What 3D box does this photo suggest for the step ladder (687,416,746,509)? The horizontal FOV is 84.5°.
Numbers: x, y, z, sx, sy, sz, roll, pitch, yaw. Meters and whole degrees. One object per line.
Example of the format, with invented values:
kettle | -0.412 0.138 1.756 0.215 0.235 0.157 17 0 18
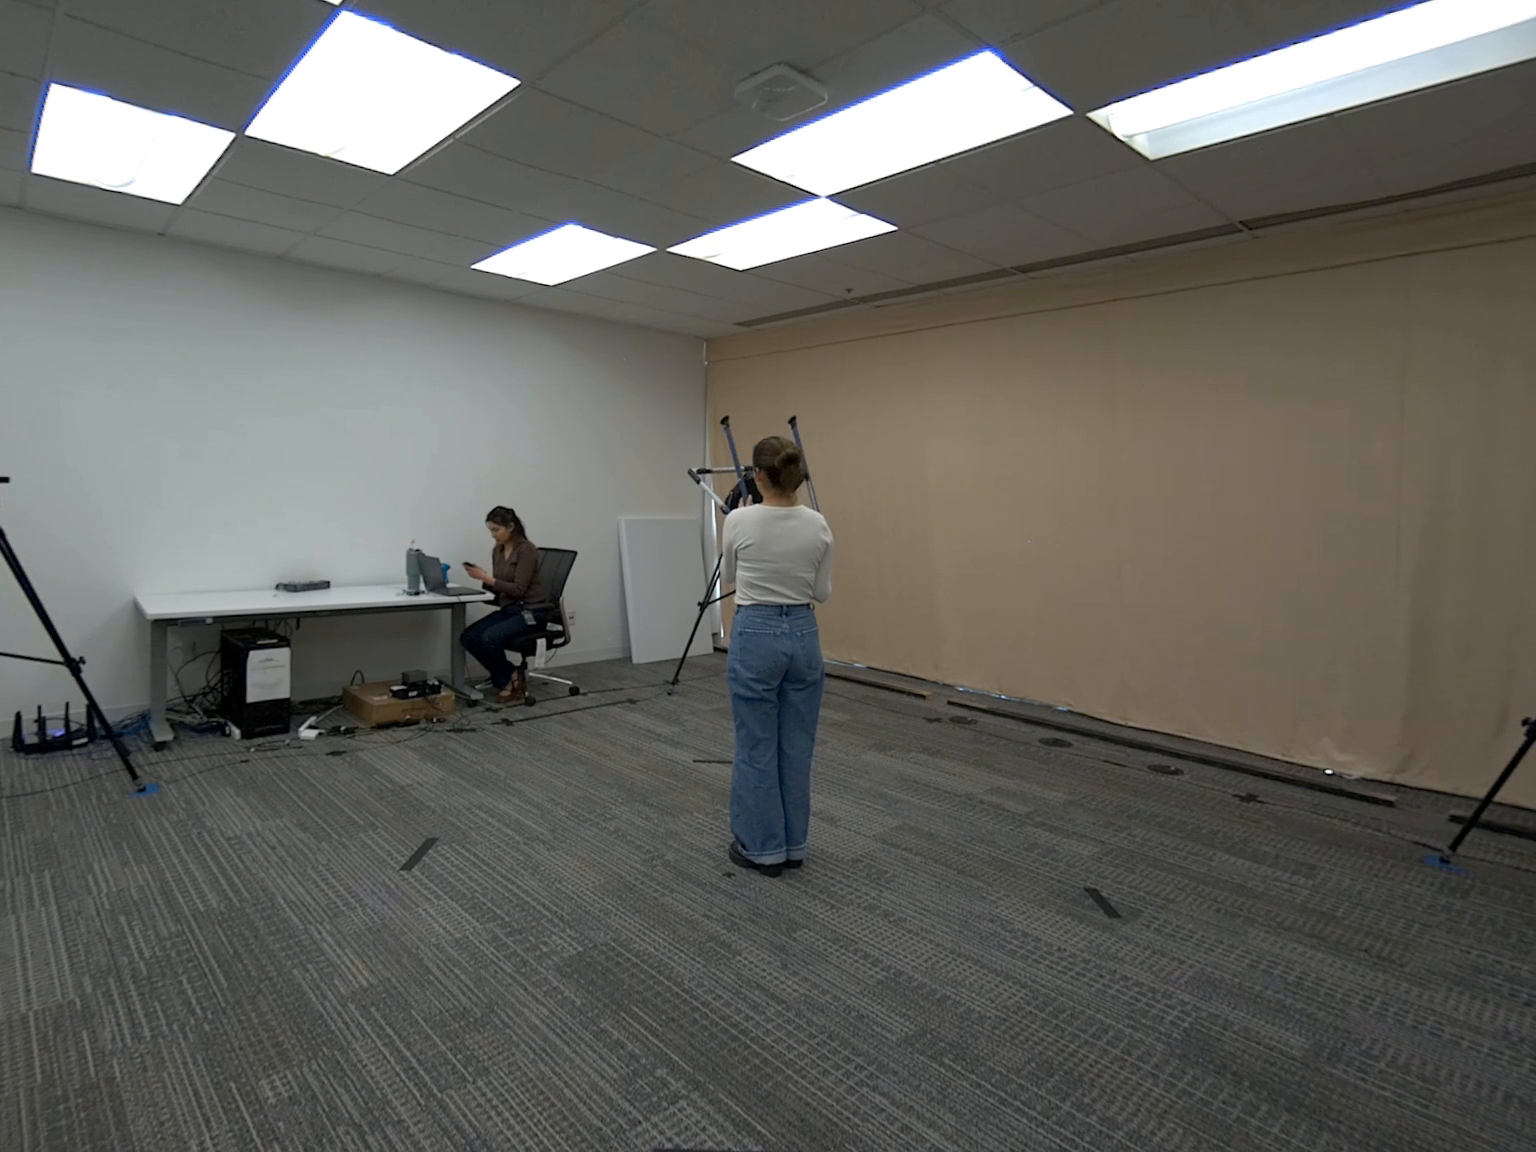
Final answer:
step ladder | 0.014 -0.319 3.526 0.422 0.619 0.348 -9 -30 -42
